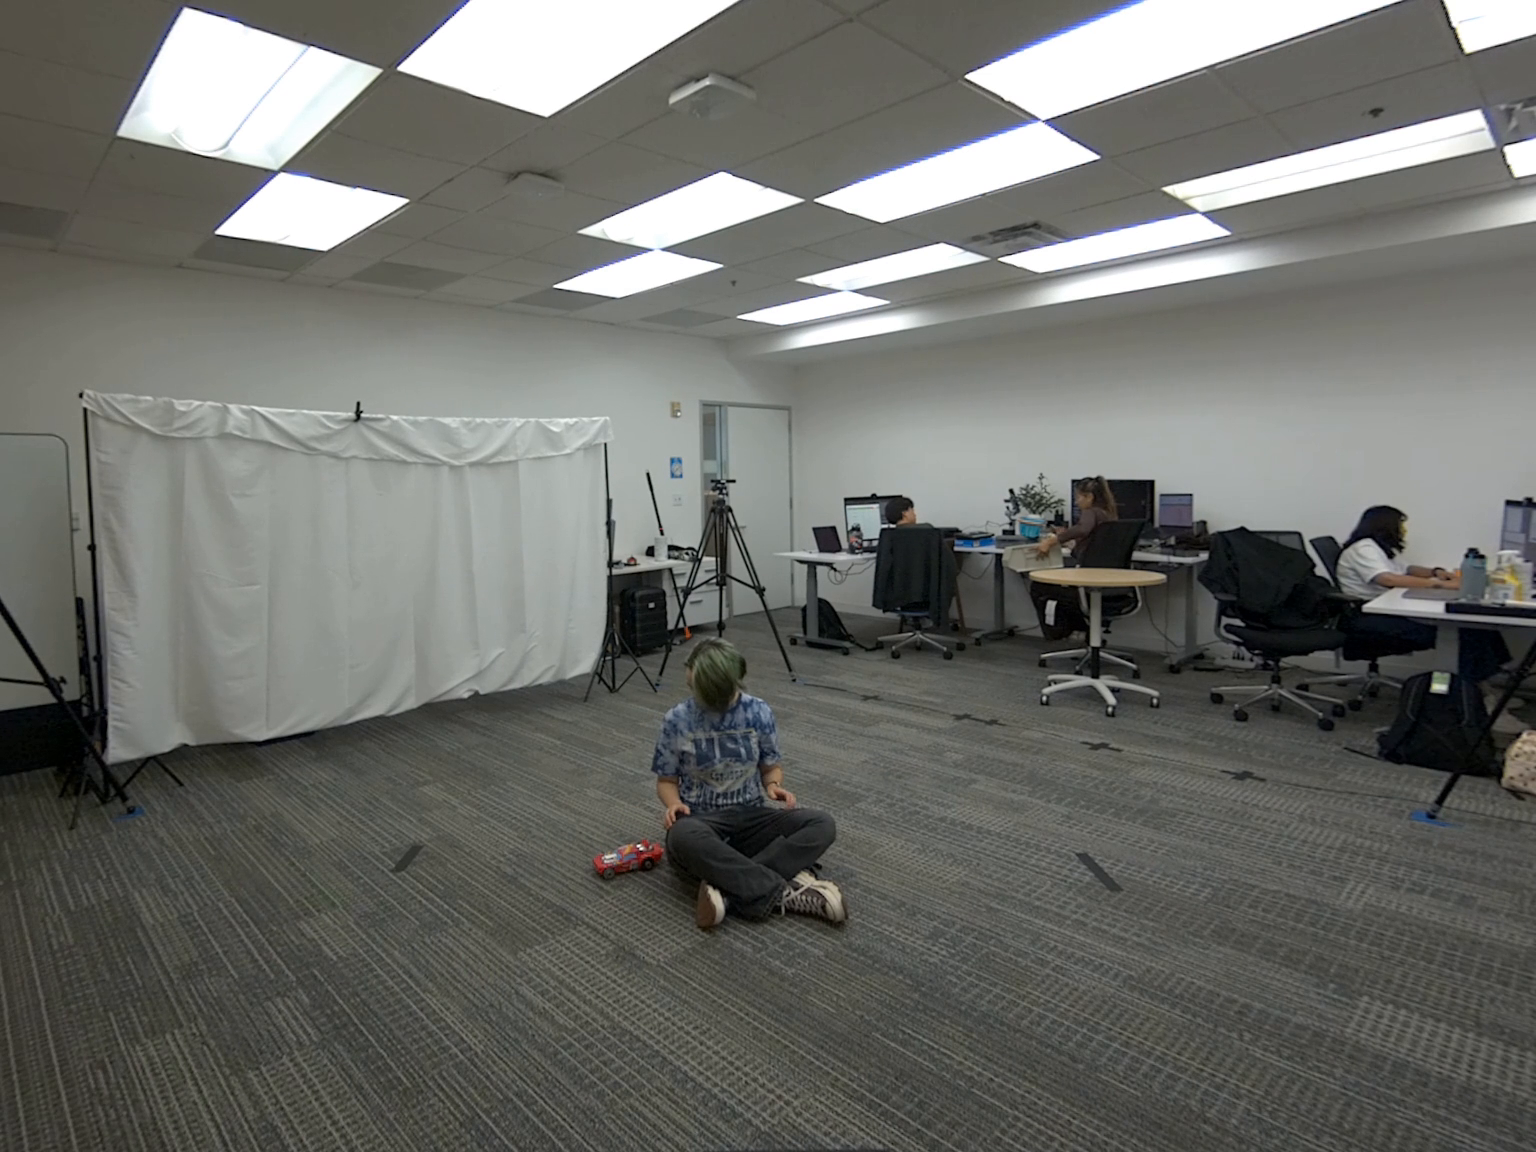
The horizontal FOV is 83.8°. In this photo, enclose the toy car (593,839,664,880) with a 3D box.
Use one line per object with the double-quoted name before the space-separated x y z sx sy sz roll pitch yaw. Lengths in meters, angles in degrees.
"toy car" -0.497 1.023 3.087 0.251 0.082 0.133 -16 11 -23
